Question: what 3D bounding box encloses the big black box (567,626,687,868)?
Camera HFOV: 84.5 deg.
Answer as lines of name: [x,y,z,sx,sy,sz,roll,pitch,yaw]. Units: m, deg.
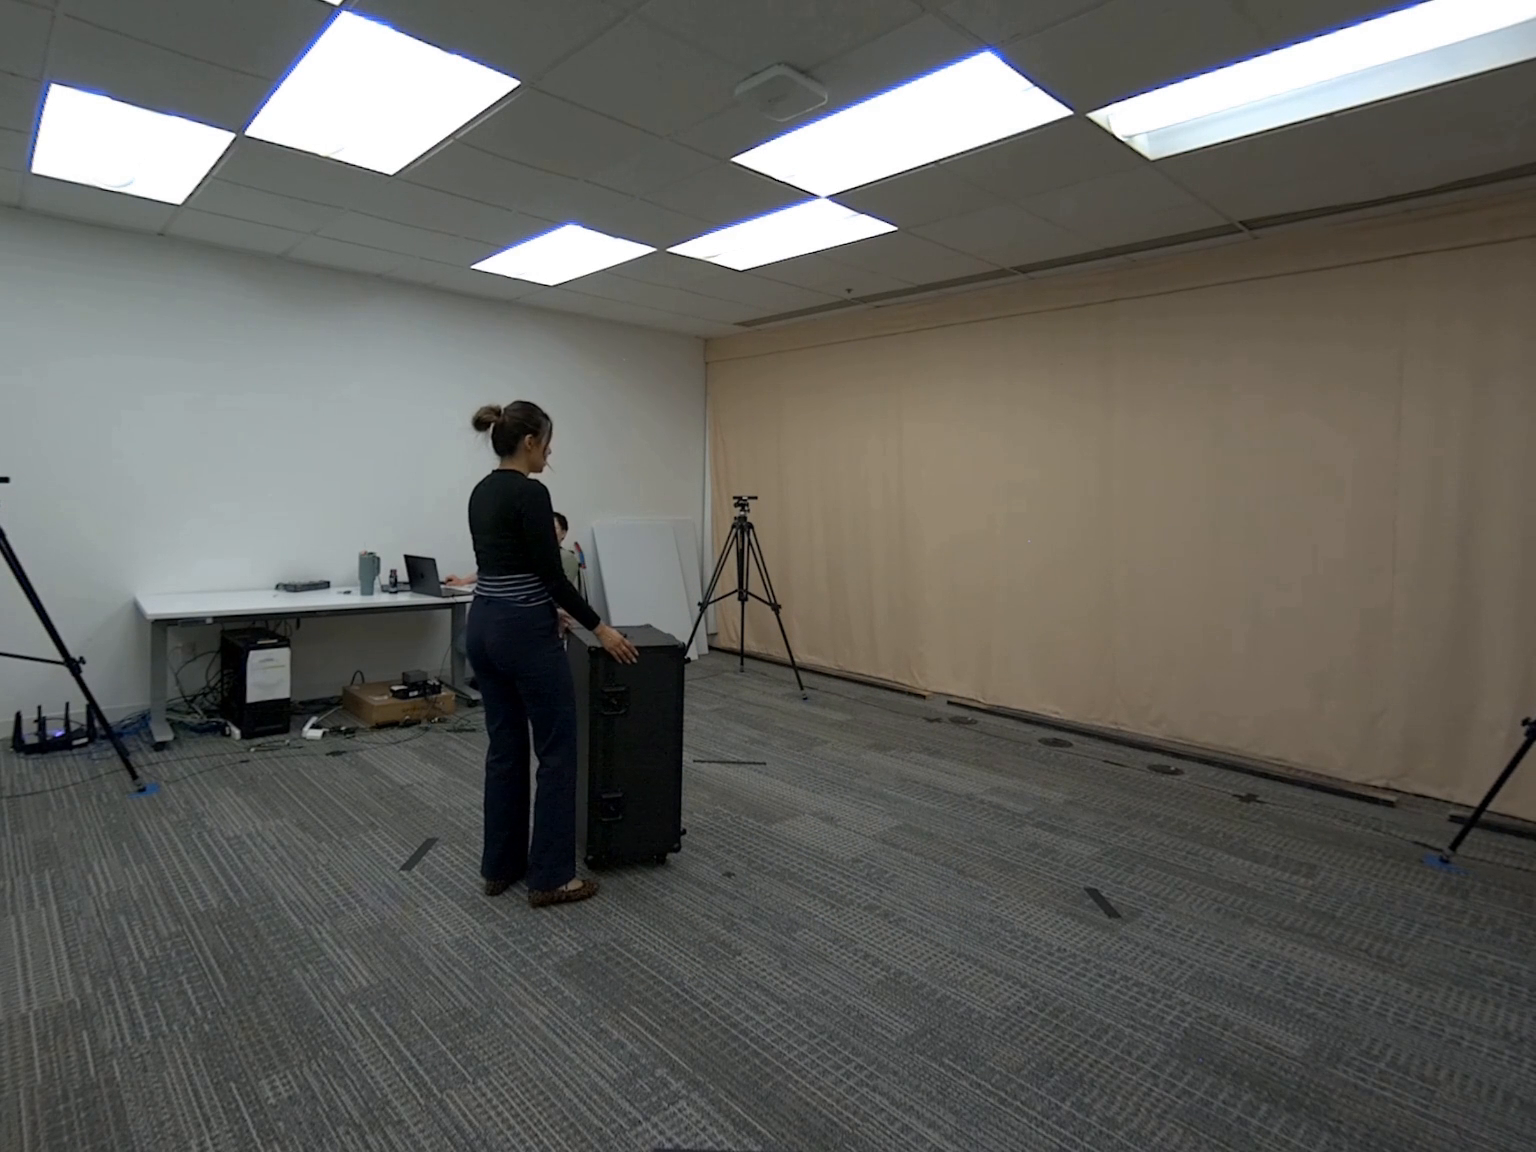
big black box: [-0.566,0.653,3.279,0.389,0.860,0.531,1,3,-23]
